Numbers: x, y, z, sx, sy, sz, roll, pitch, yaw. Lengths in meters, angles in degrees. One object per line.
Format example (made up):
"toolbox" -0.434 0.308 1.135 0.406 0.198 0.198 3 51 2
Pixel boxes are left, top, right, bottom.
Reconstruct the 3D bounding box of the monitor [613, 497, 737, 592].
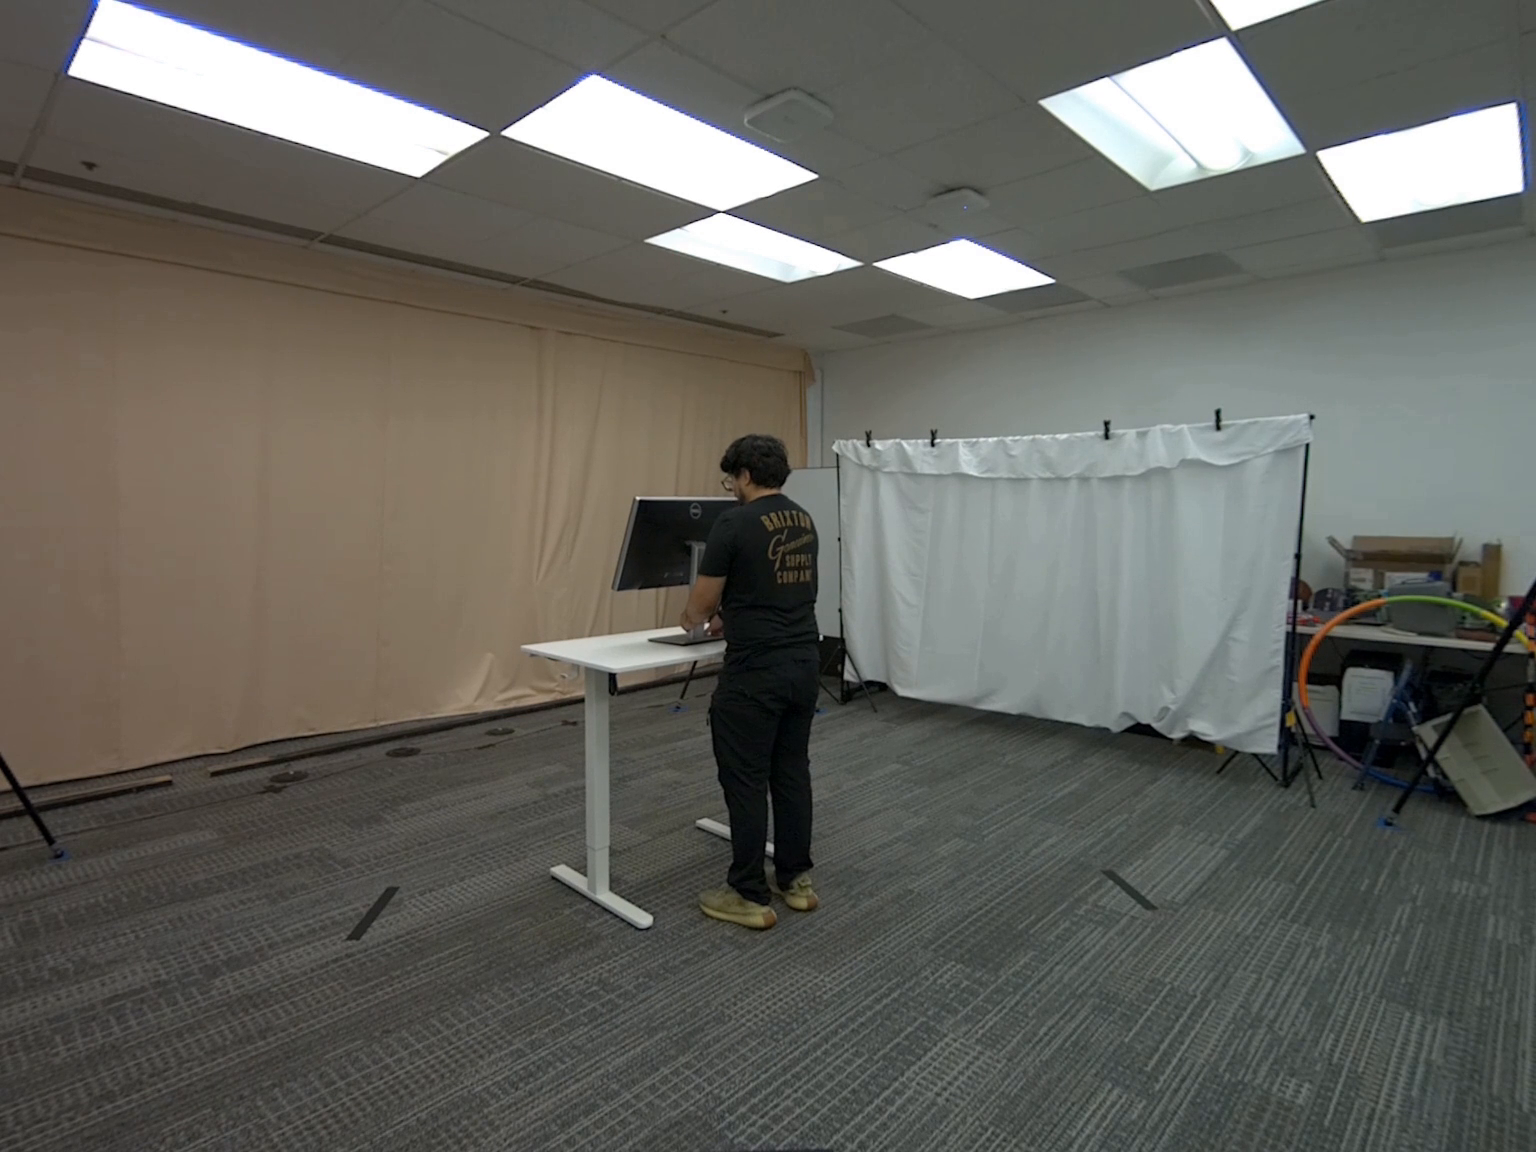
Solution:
"monitor" -0.290 -0.021 3.174 0.218 0.551 0.548 18 14 38
